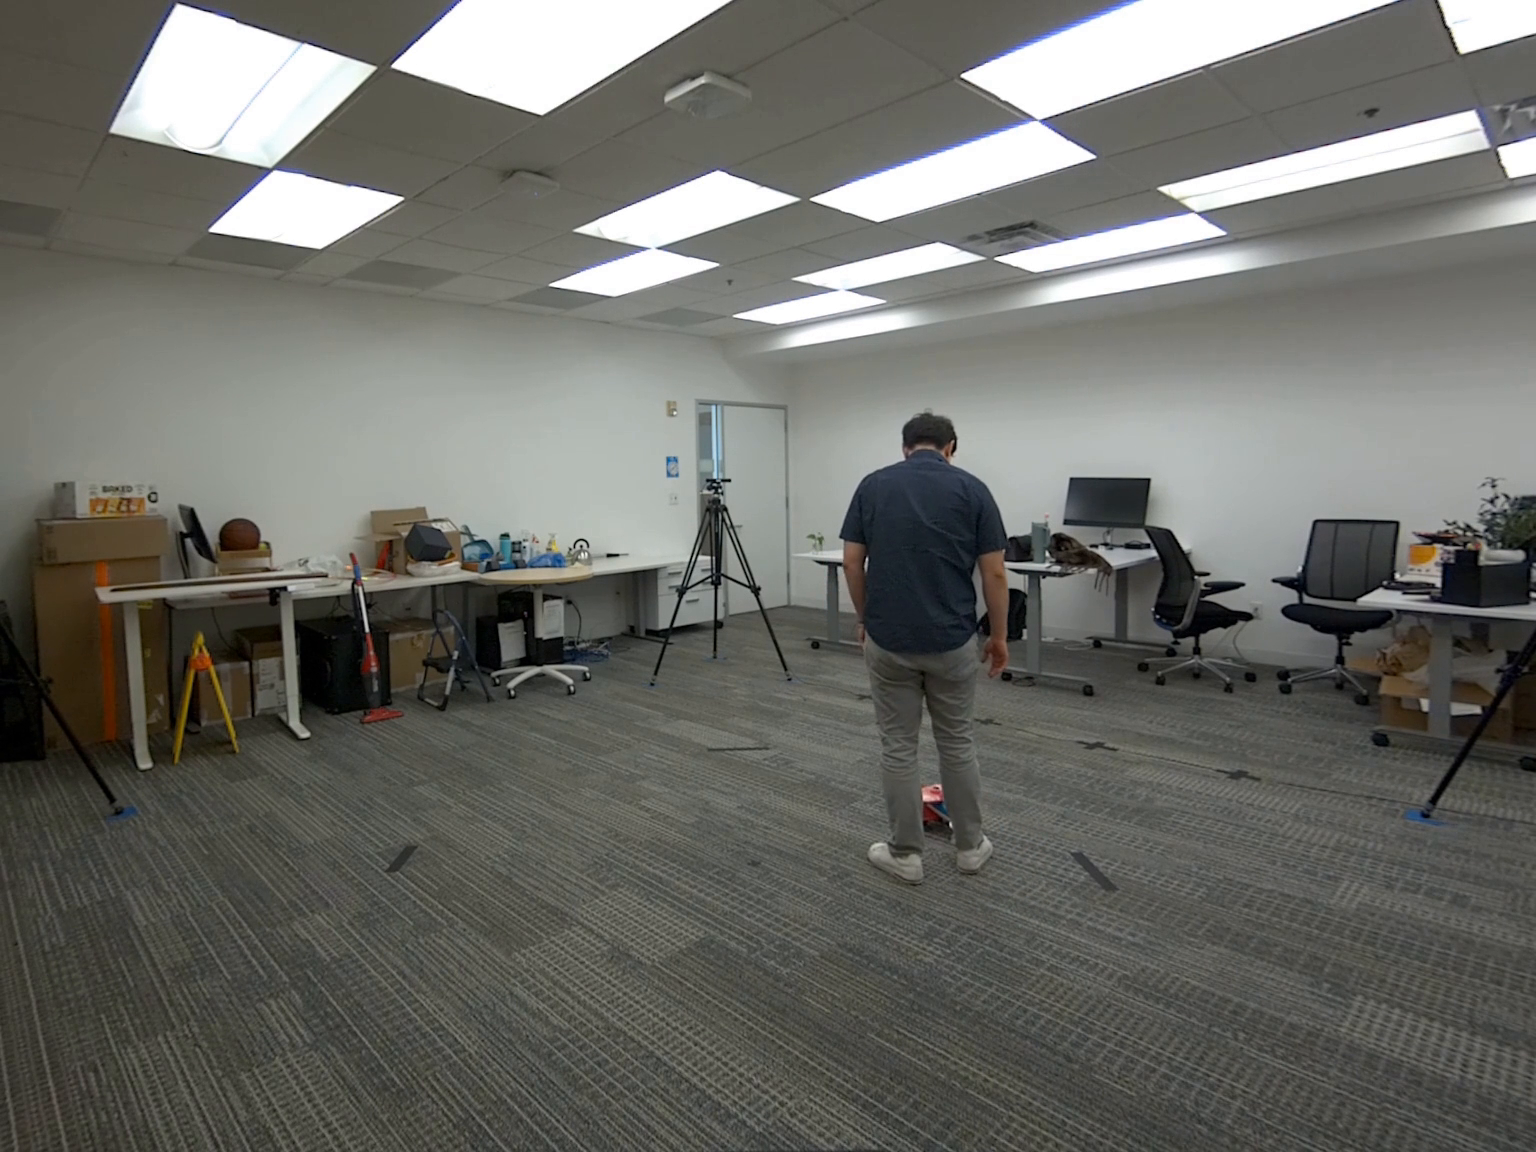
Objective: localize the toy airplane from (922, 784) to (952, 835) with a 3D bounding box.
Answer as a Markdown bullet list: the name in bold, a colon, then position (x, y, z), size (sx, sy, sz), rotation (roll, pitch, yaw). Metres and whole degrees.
- **toy airplane**: position (0.722, 0.931, 3.392), size (0.266, 0.156, 0.245), rotation (2, 3, 33)
